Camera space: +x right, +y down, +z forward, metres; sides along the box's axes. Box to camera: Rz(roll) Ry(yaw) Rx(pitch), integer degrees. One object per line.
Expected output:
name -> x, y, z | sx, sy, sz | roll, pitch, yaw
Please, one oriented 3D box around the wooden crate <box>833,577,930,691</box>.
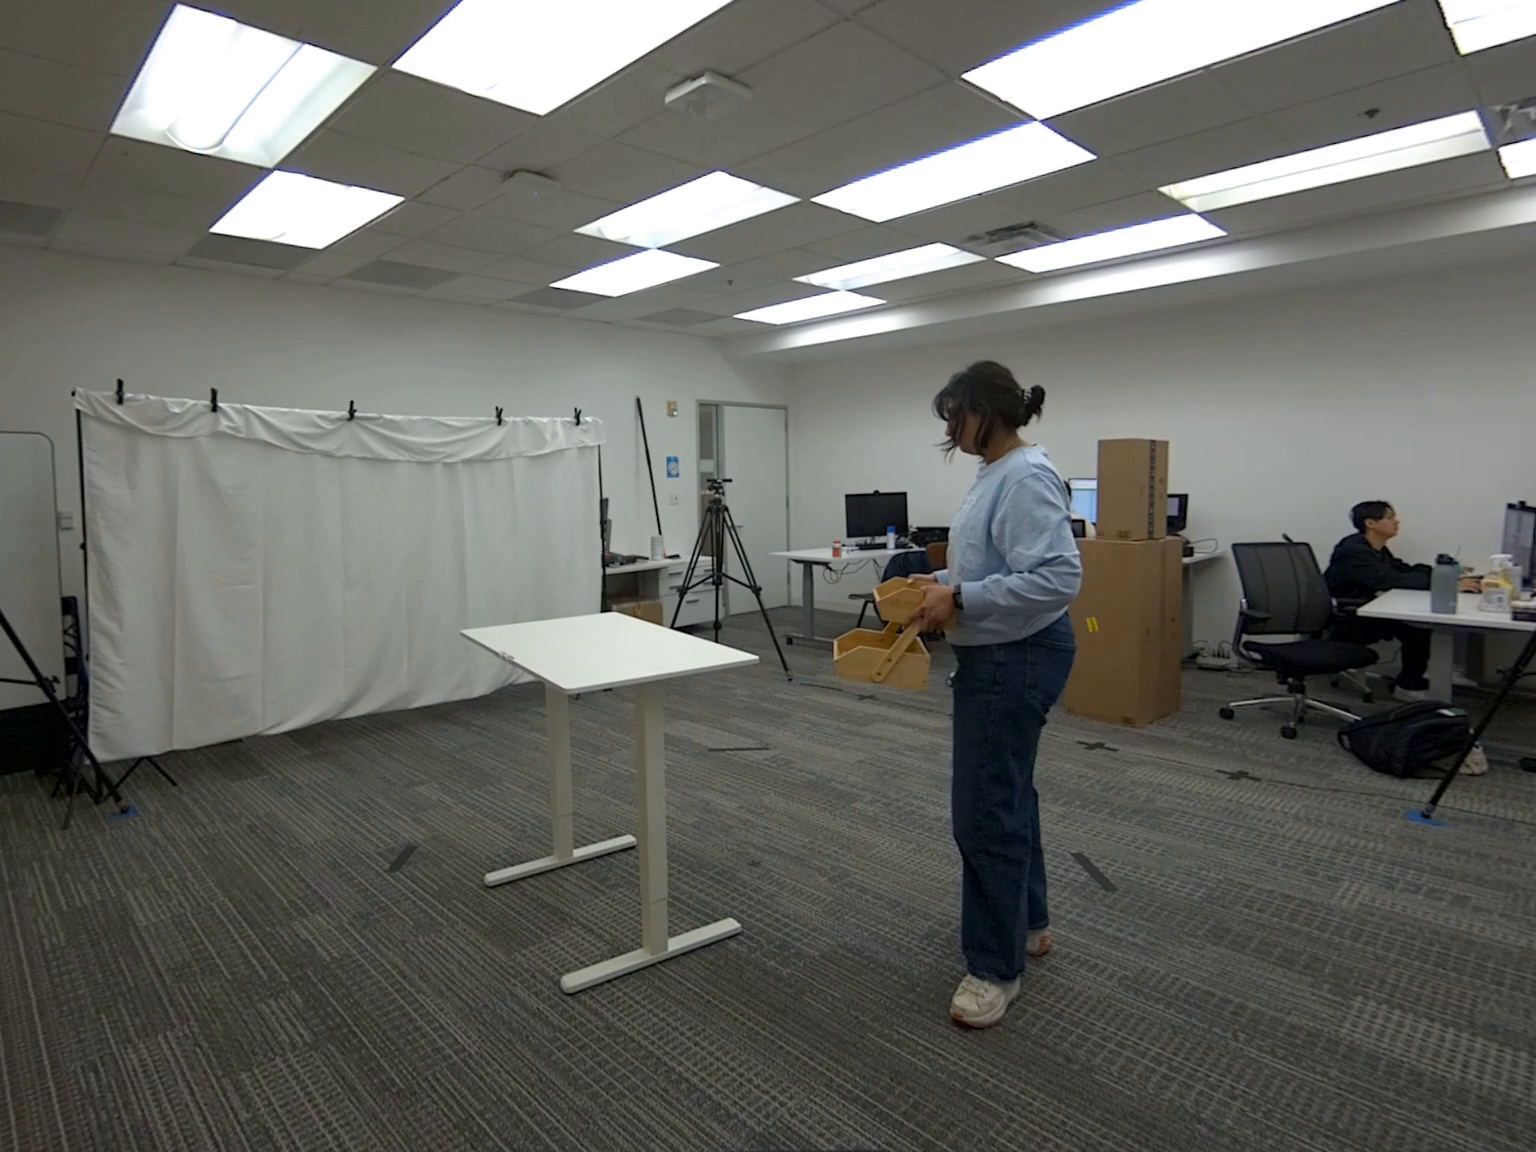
wooden crate -> 0.373, 0.147, 2.391 | 0.304, 0.272, 0.323 | 8, 6, 5
